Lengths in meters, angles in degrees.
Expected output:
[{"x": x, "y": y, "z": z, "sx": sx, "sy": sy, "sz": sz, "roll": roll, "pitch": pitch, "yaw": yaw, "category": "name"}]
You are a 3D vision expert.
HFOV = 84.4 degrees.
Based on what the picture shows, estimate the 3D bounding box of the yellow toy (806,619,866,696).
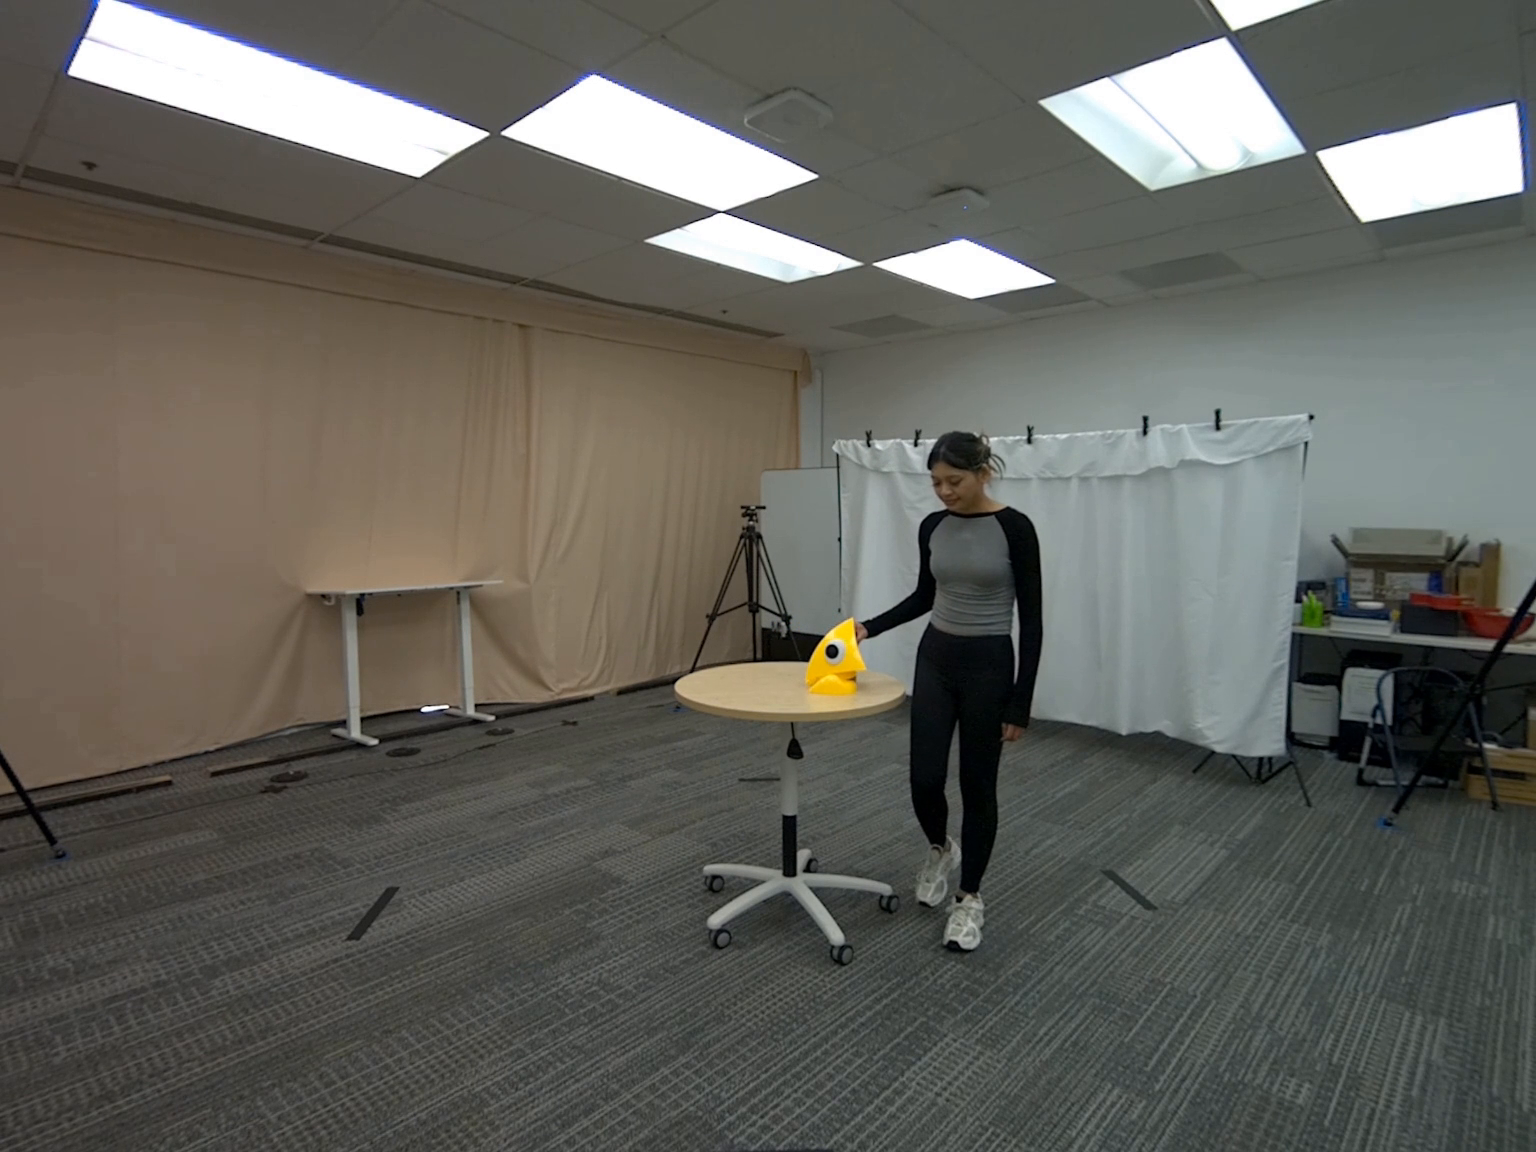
[{"x": 0.222, "y": 0.256, "z": 2.759, "sx": 0.193, "sy": 0.230, "sz": 0.205, "roll": -1, "pitch": 5, "yaw": 2, "category": "yellow toy"}]
